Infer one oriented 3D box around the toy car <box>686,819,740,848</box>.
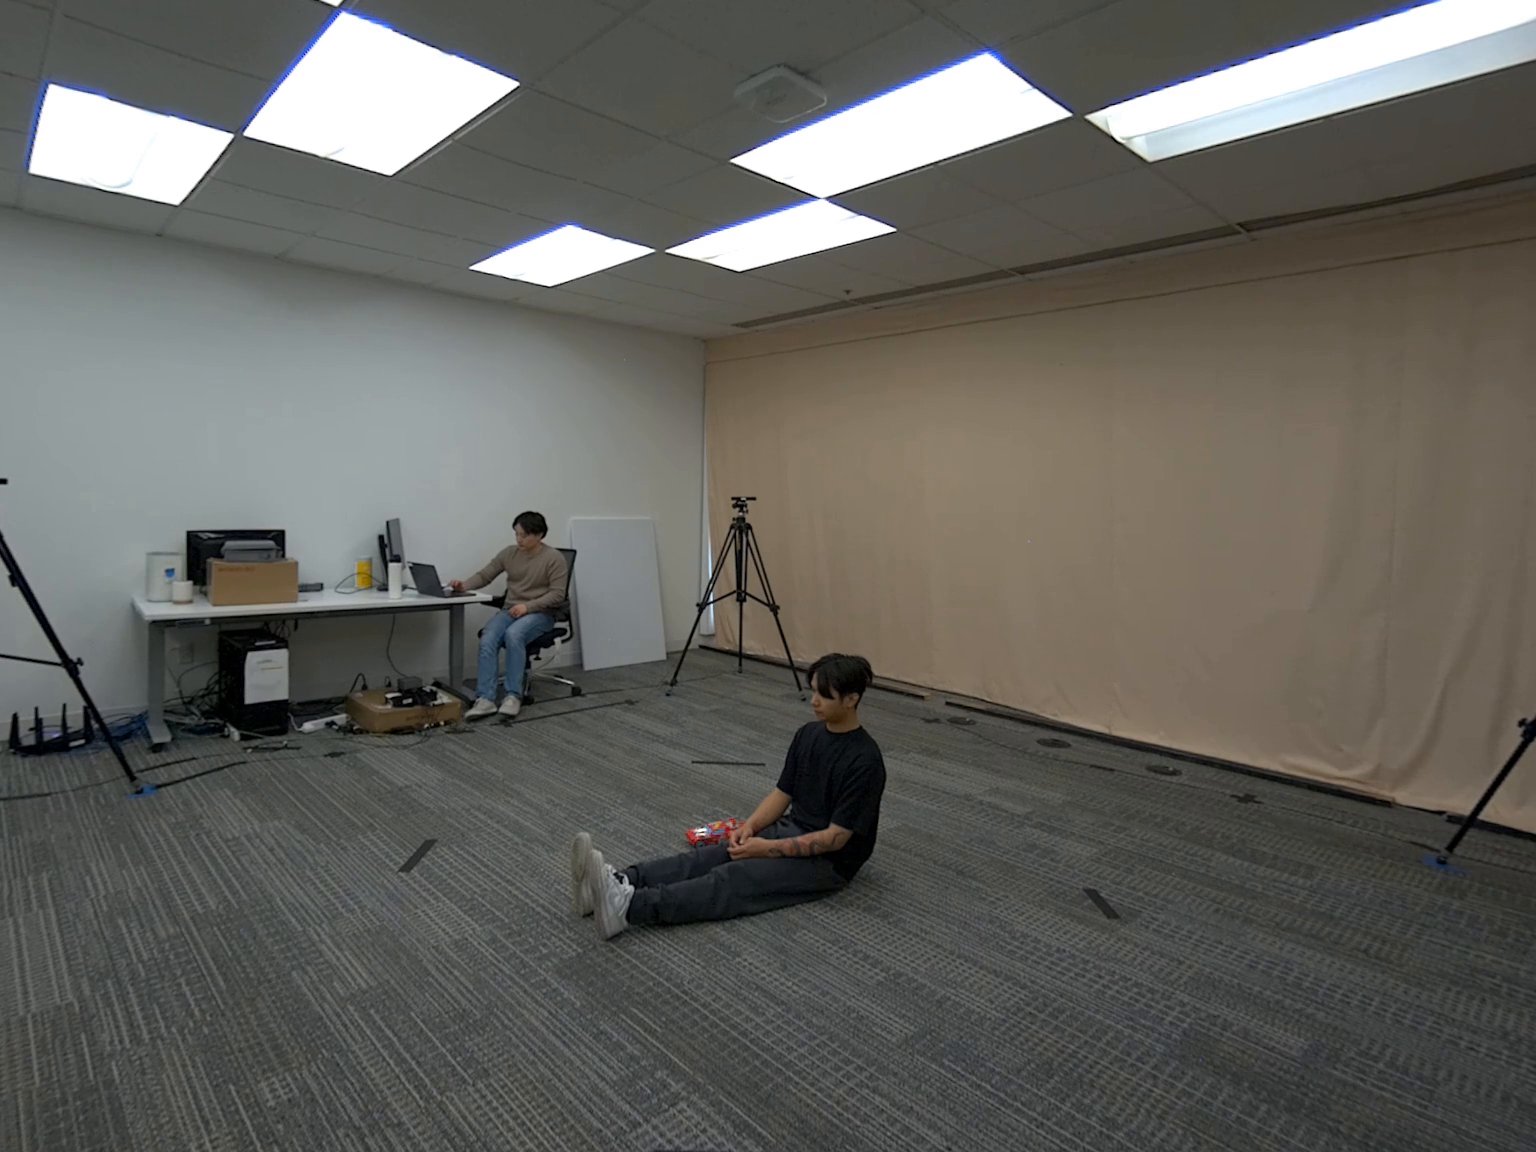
[{"bbox_3d":[-0.210,1.052,3.420,0.252,0.083,0.132,-12,8,-18],"label":"toy car"}]
